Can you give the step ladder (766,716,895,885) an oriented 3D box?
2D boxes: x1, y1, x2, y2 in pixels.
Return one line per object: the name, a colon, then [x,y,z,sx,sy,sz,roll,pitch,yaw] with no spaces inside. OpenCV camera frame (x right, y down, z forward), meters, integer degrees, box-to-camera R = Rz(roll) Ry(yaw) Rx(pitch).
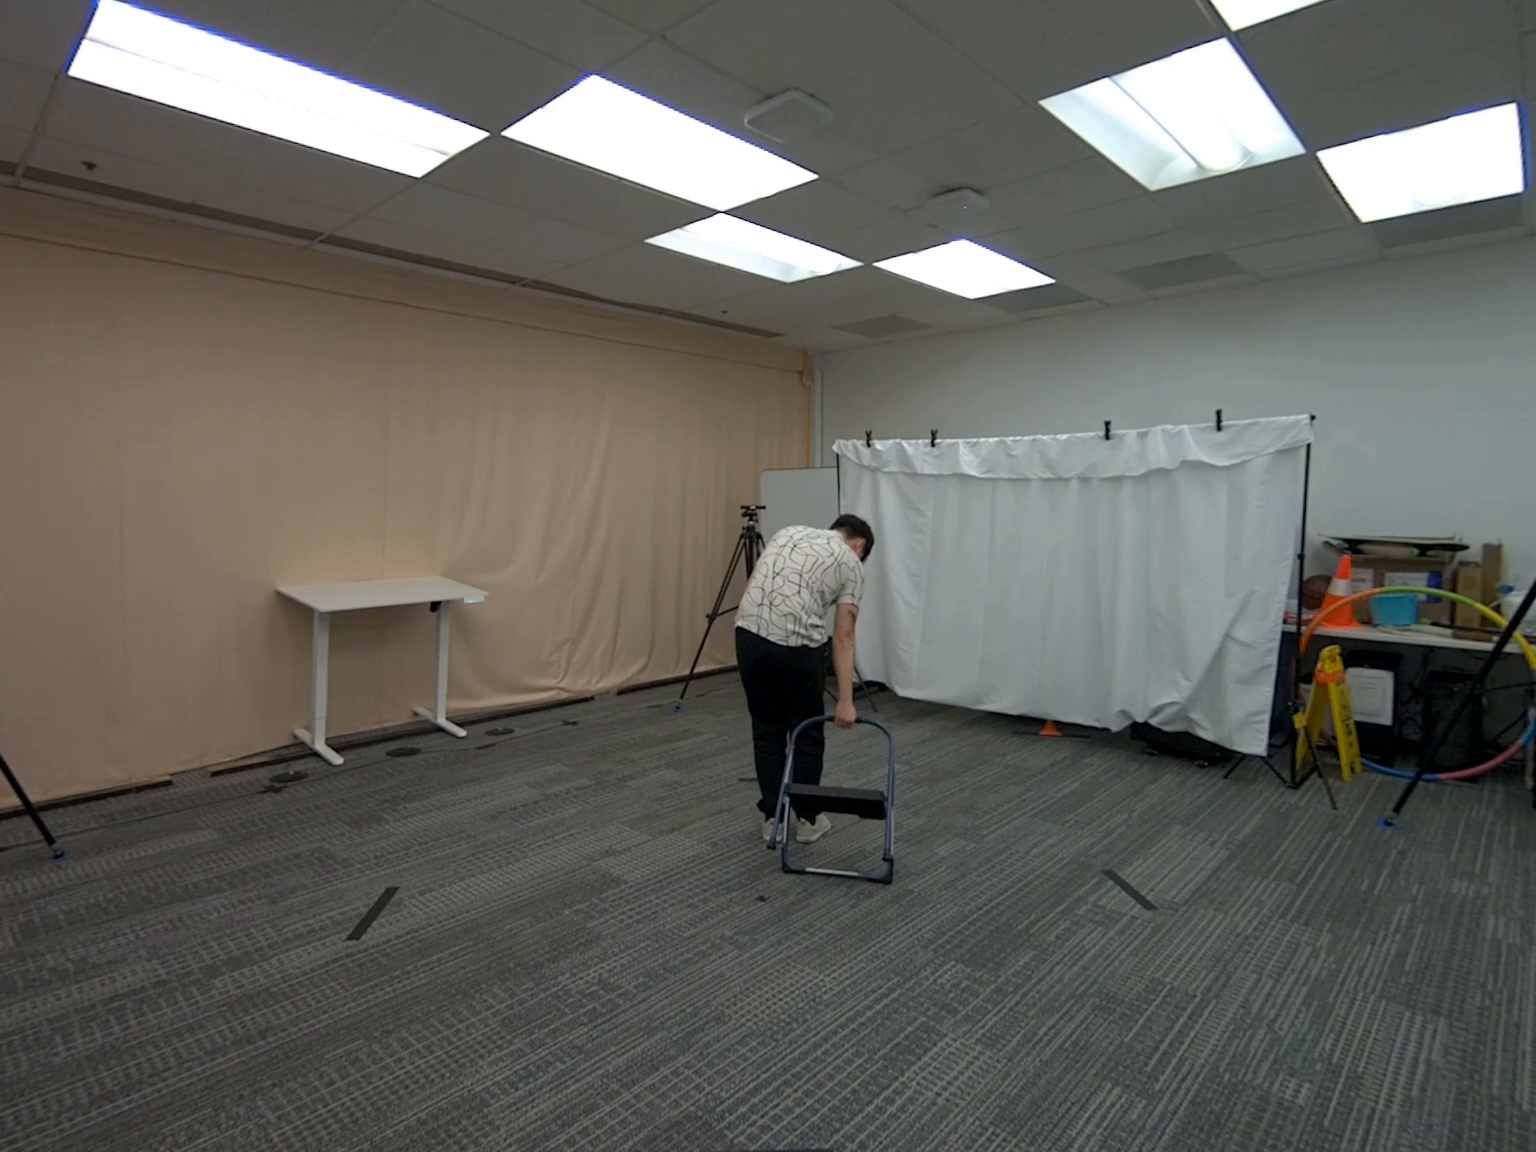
step ladder: [0.280,0.788,3.179,0.437,0.613,0.340,1,-34,12]
